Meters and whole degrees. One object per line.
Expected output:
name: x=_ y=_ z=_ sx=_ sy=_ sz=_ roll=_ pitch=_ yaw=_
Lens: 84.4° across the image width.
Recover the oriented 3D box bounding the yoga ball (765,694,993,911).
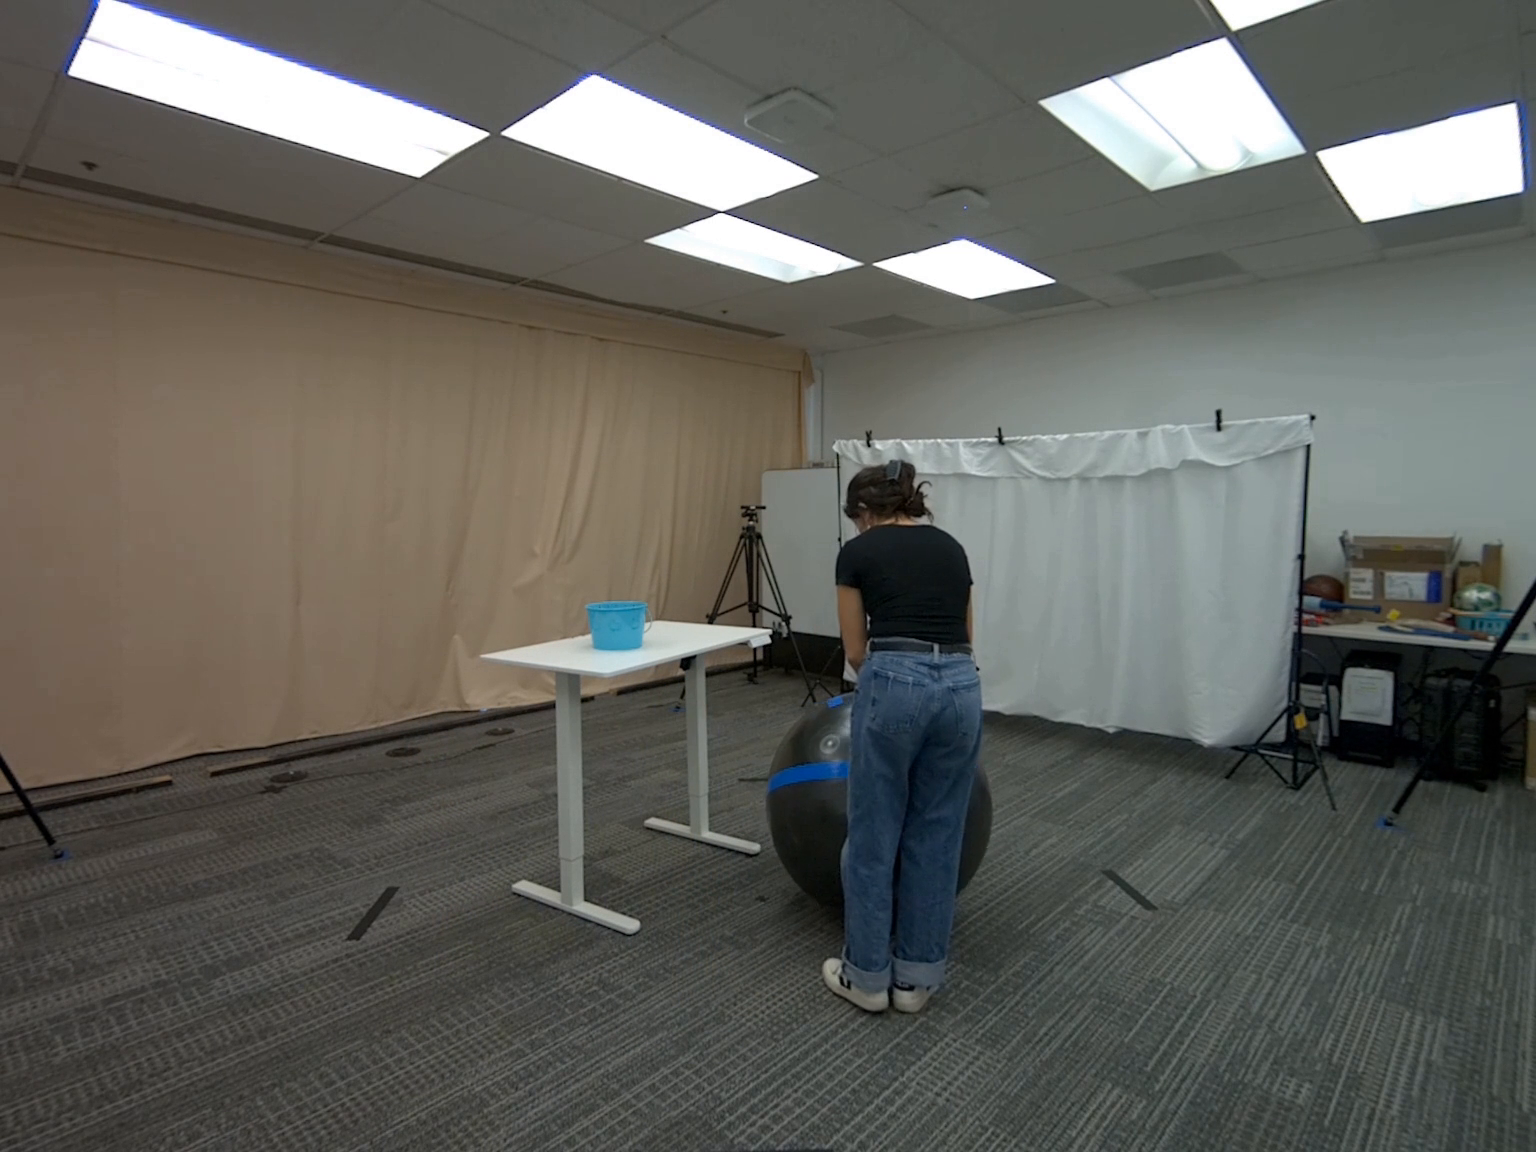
yoga ball: x=0.373 y=0.790 z=2.889 sx=0.757 sy=0.756 sz=0.760 roll=0 pitch=4 yaw=-2
